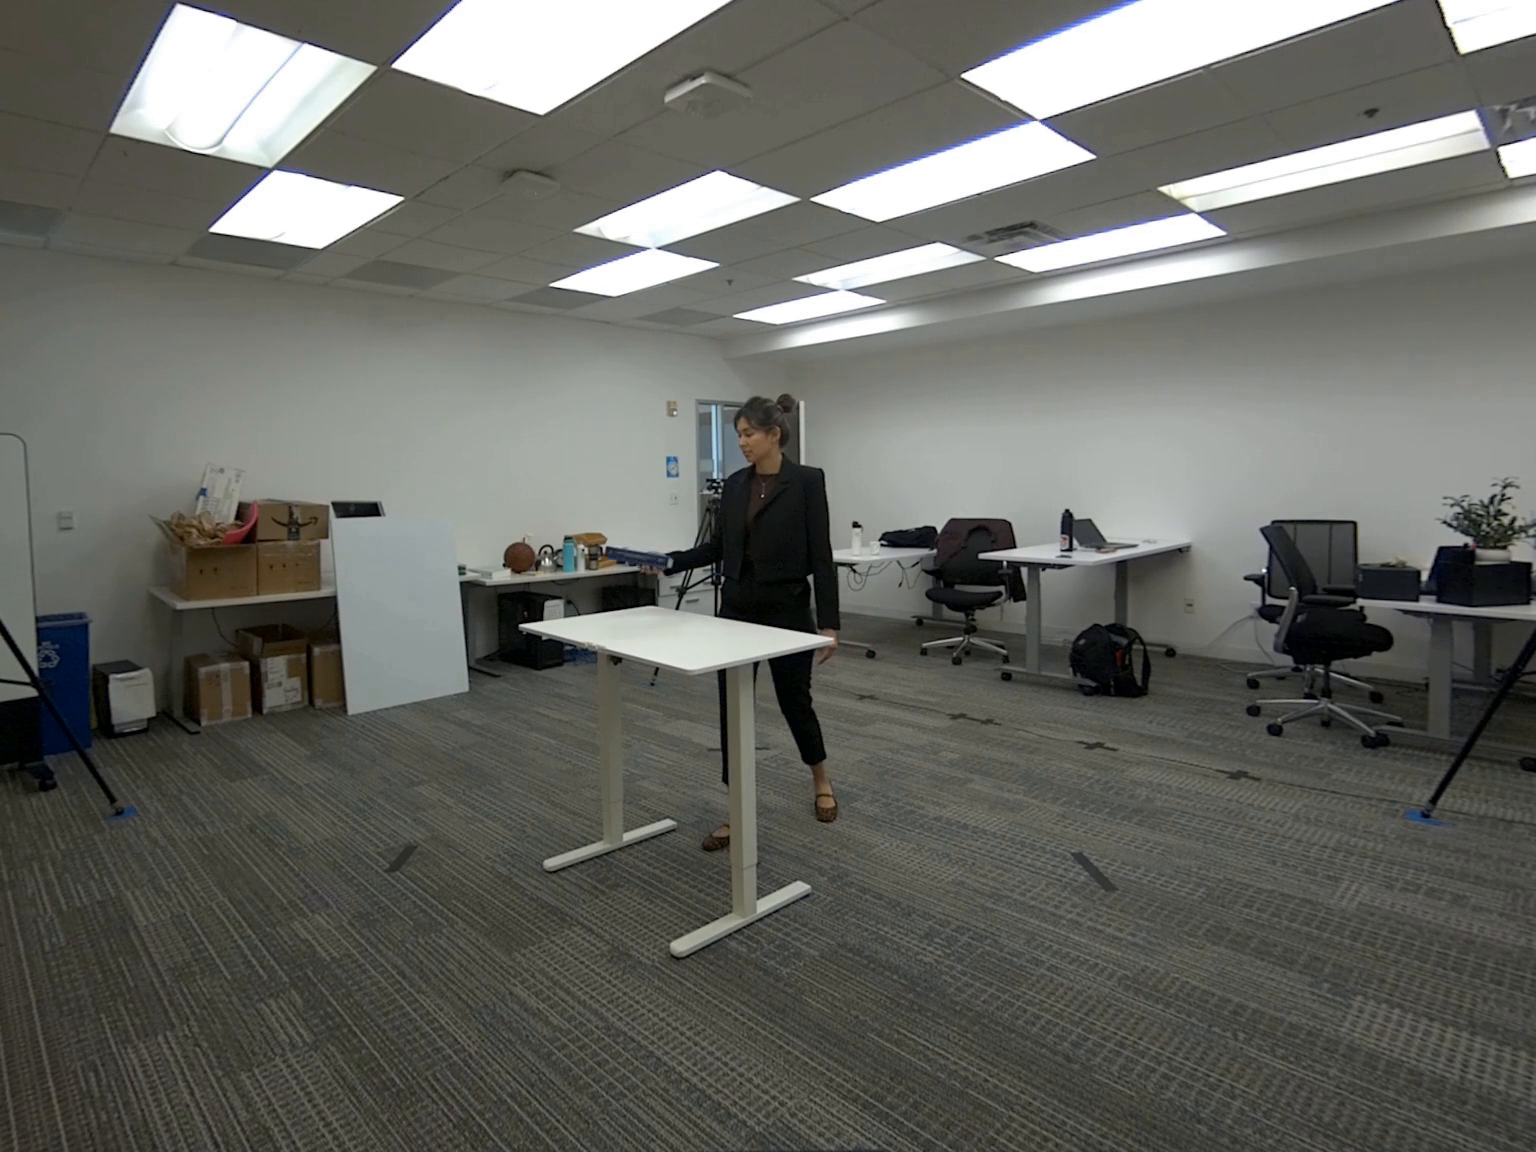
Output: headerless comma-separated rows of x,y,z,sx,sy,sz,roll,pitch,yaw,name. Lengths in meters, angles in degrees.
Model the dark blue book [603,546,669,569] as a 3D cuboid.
-0.486,-0.070,3.284,0.246,0.045,0.162,8,-2,3,dark blue book
